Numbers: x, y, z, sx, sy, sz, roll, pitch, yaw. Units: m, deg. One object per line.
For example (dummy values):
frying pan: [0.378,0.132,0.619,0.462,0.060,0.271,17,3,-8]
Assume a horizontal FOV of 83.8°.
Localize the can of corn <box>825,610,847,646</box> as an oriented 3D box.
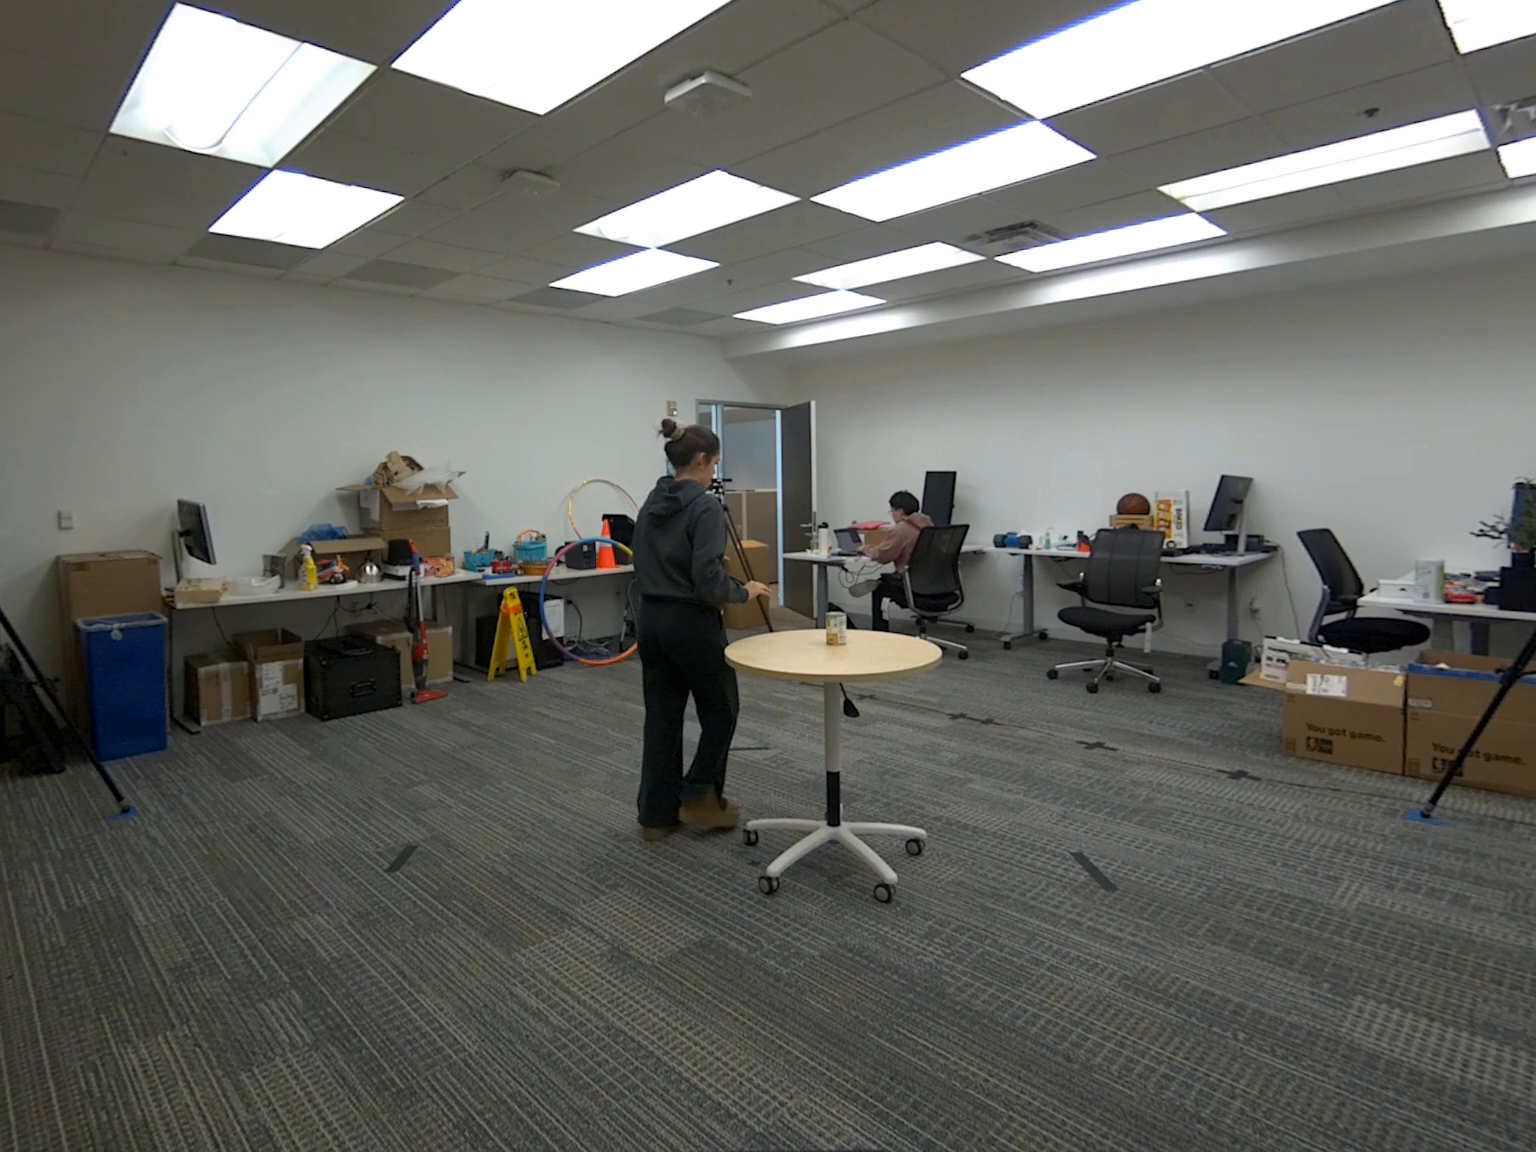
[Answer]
can of corn: [0.252,0.195,3.131,0.074,0.111,0.074,0,4,-2]
